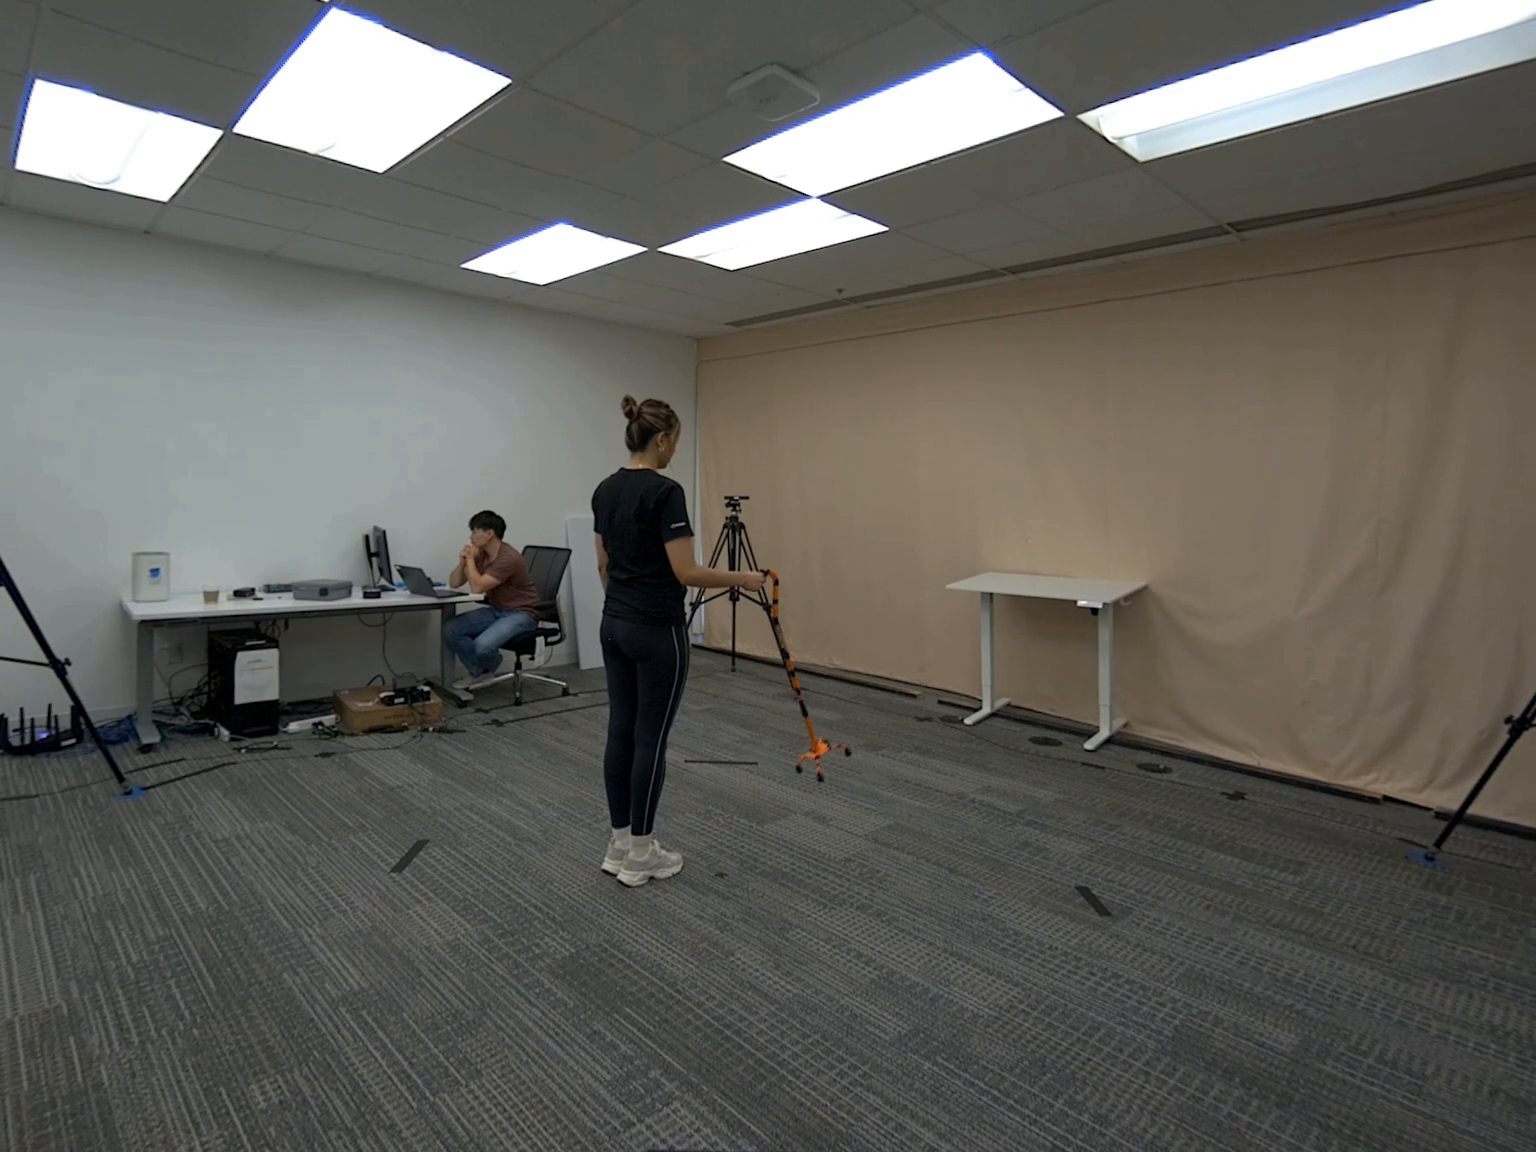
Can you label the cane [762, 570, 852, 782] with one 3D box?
[{"bbox_3d":[0.099,0.382,3.306,0.156,0.891,0.205,8,31,45],"label":"cane"}]
